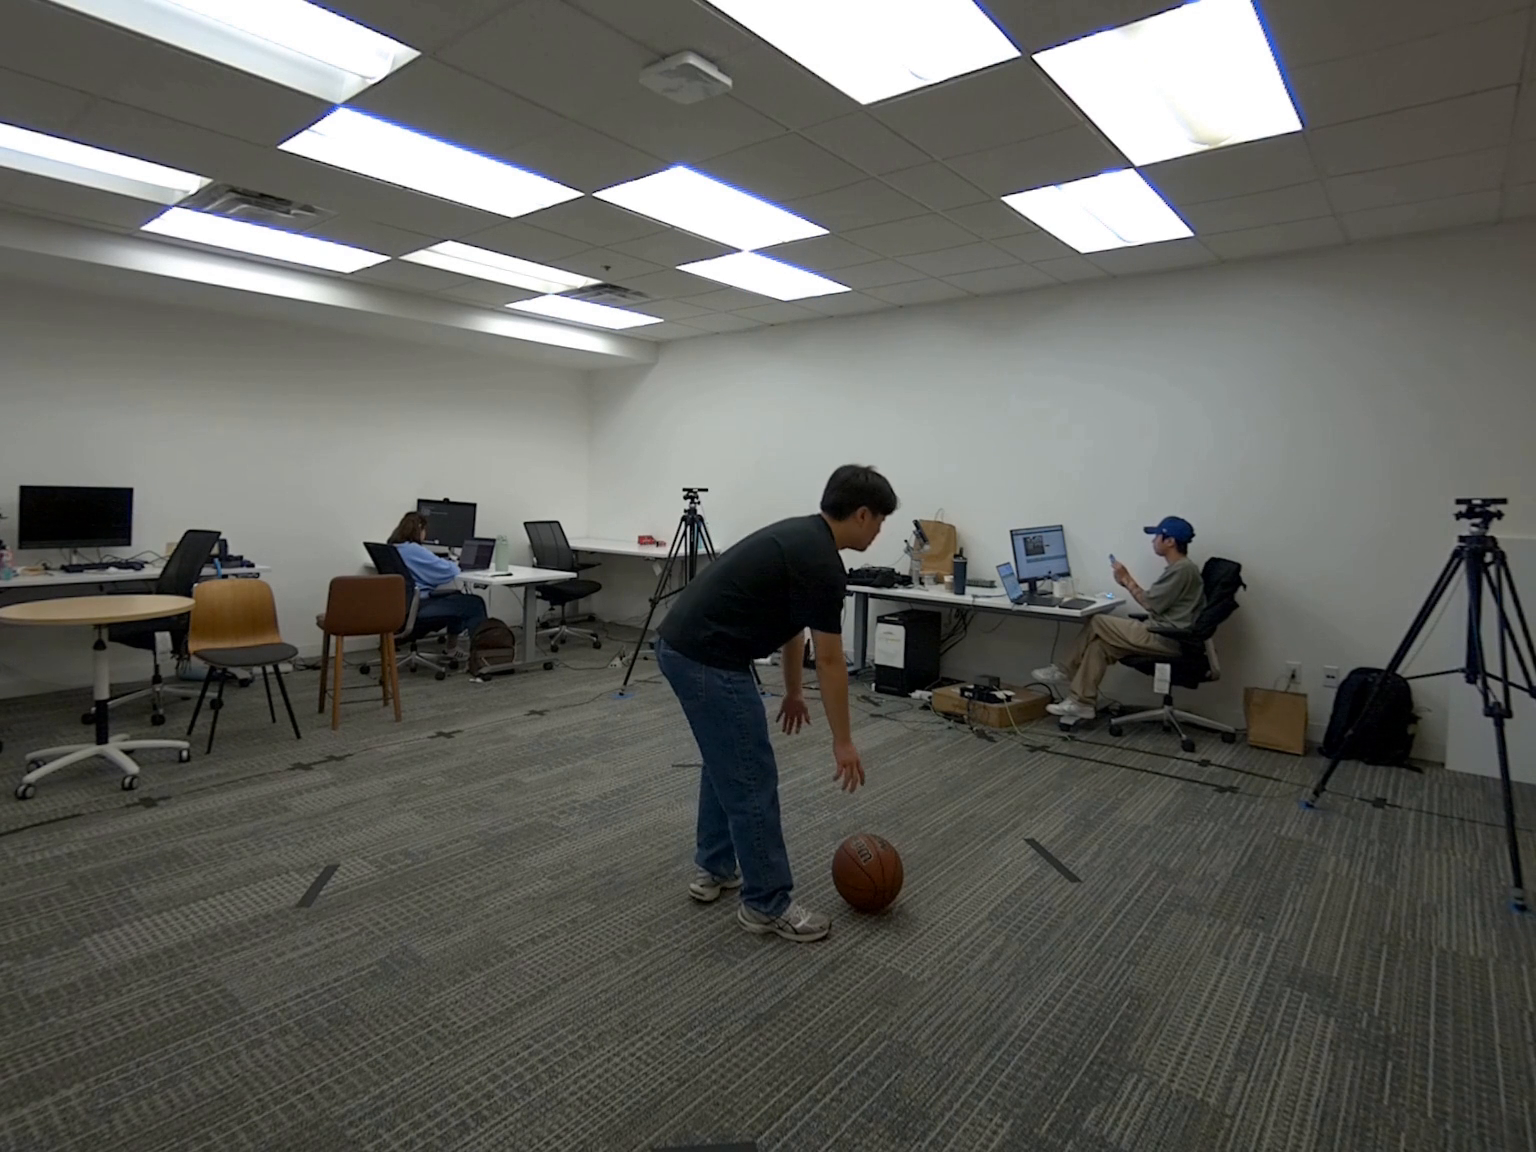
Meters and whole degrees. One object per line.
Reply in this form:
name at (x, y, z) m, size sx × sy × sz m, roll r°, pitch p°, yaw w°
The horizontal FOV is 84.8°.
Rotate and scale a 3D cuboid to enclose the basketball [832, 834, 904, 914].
basketball at (0.333, 0.983, 2.852) m, size 0.235 × 0.235 × 0.237 m, roll 1°, pitch 4°, yaw -2°
